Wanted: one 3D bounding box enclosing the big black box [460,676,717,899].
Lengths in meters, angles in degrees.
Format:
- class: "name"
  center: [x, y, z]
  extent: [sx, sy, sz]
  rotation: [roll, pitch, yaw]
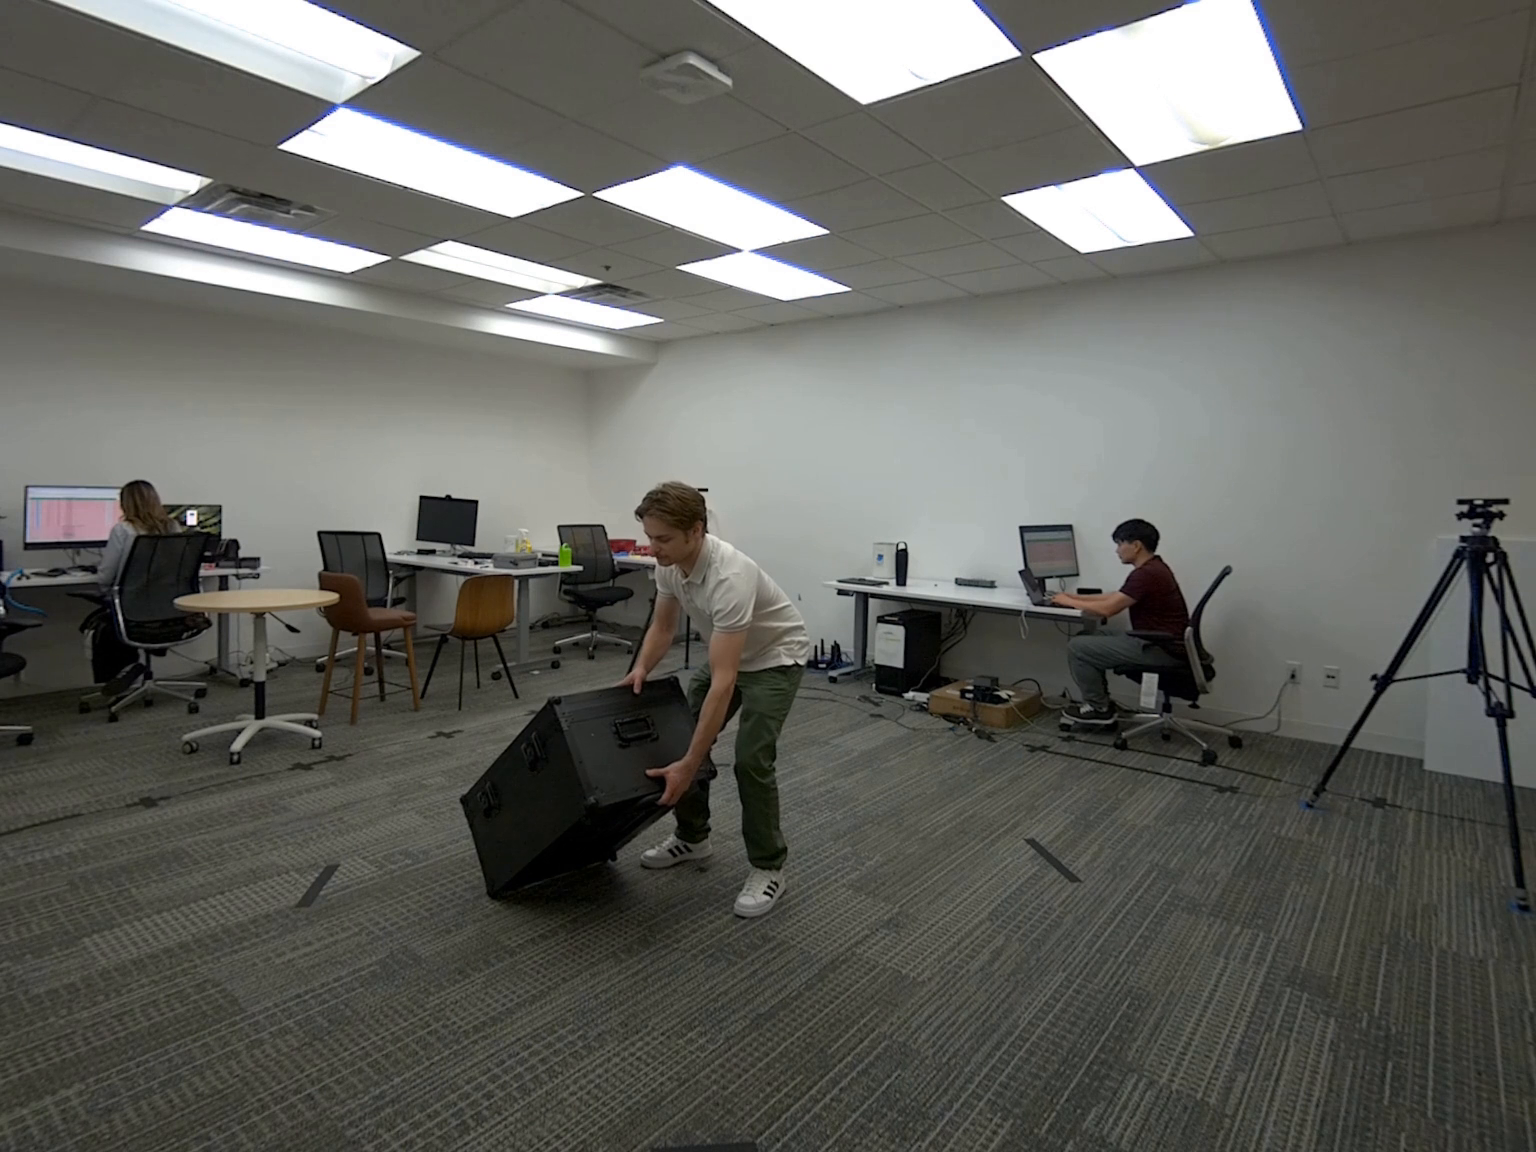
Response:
- class: "big black box"
  center: [-0.652, 0.732, 2.867]
  extent: [0.508, 0.397, 0.868]
  rotation: [-5, -31, -42]
